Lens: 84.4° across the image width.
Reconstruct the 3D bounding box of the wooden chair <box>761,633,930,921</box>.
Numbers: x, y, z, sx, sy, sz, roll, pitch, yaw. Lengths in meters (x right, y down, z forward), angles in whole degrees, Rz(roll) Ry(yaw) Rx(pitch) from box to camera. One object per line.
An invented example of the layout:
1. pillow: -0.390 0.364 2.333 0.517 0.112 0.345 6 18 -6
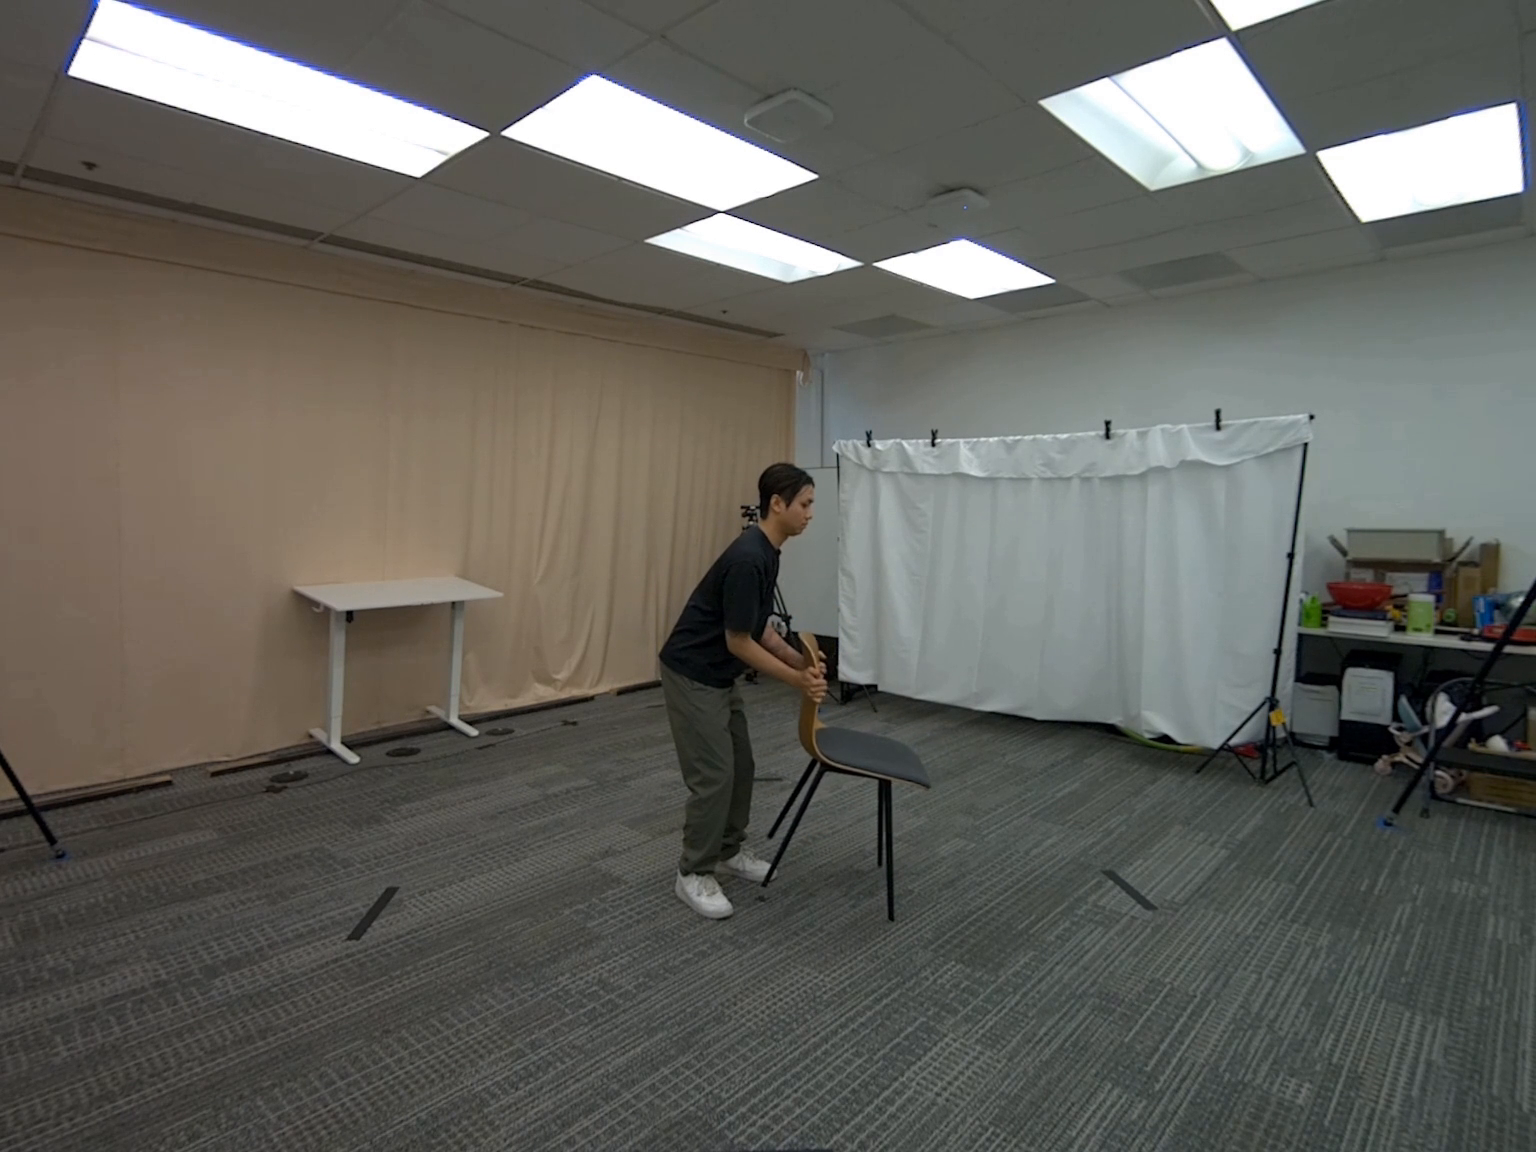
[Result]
1. wooden chair: 0.313 0.680 3.017 0.527 0.876 0.476 8 3 5
